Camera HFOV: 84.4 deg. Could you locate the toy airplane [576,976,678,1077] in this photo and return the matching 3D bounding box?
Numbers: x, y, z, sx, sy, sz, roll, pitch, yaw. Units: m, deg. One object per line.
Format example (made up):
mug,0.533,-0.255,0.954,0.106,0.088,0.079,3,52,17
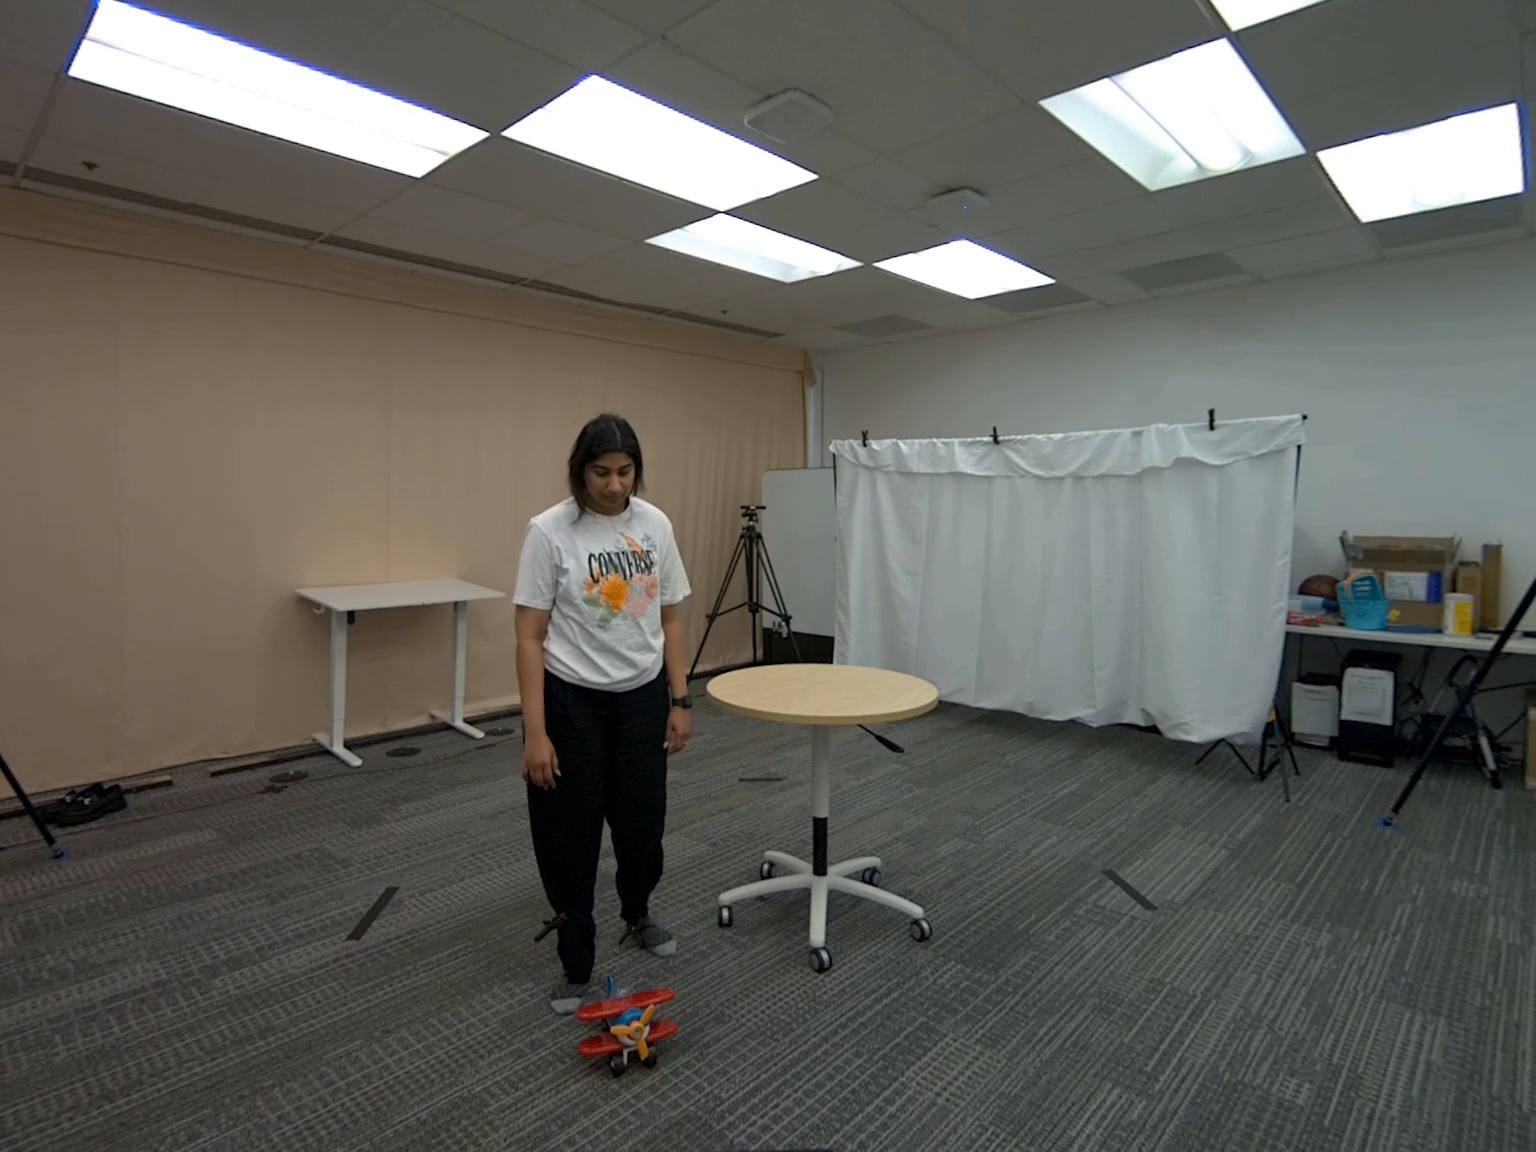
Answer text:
toy airplane,-0.382,1.145,2.140,0.268,0.156,0.244,4,7,38
